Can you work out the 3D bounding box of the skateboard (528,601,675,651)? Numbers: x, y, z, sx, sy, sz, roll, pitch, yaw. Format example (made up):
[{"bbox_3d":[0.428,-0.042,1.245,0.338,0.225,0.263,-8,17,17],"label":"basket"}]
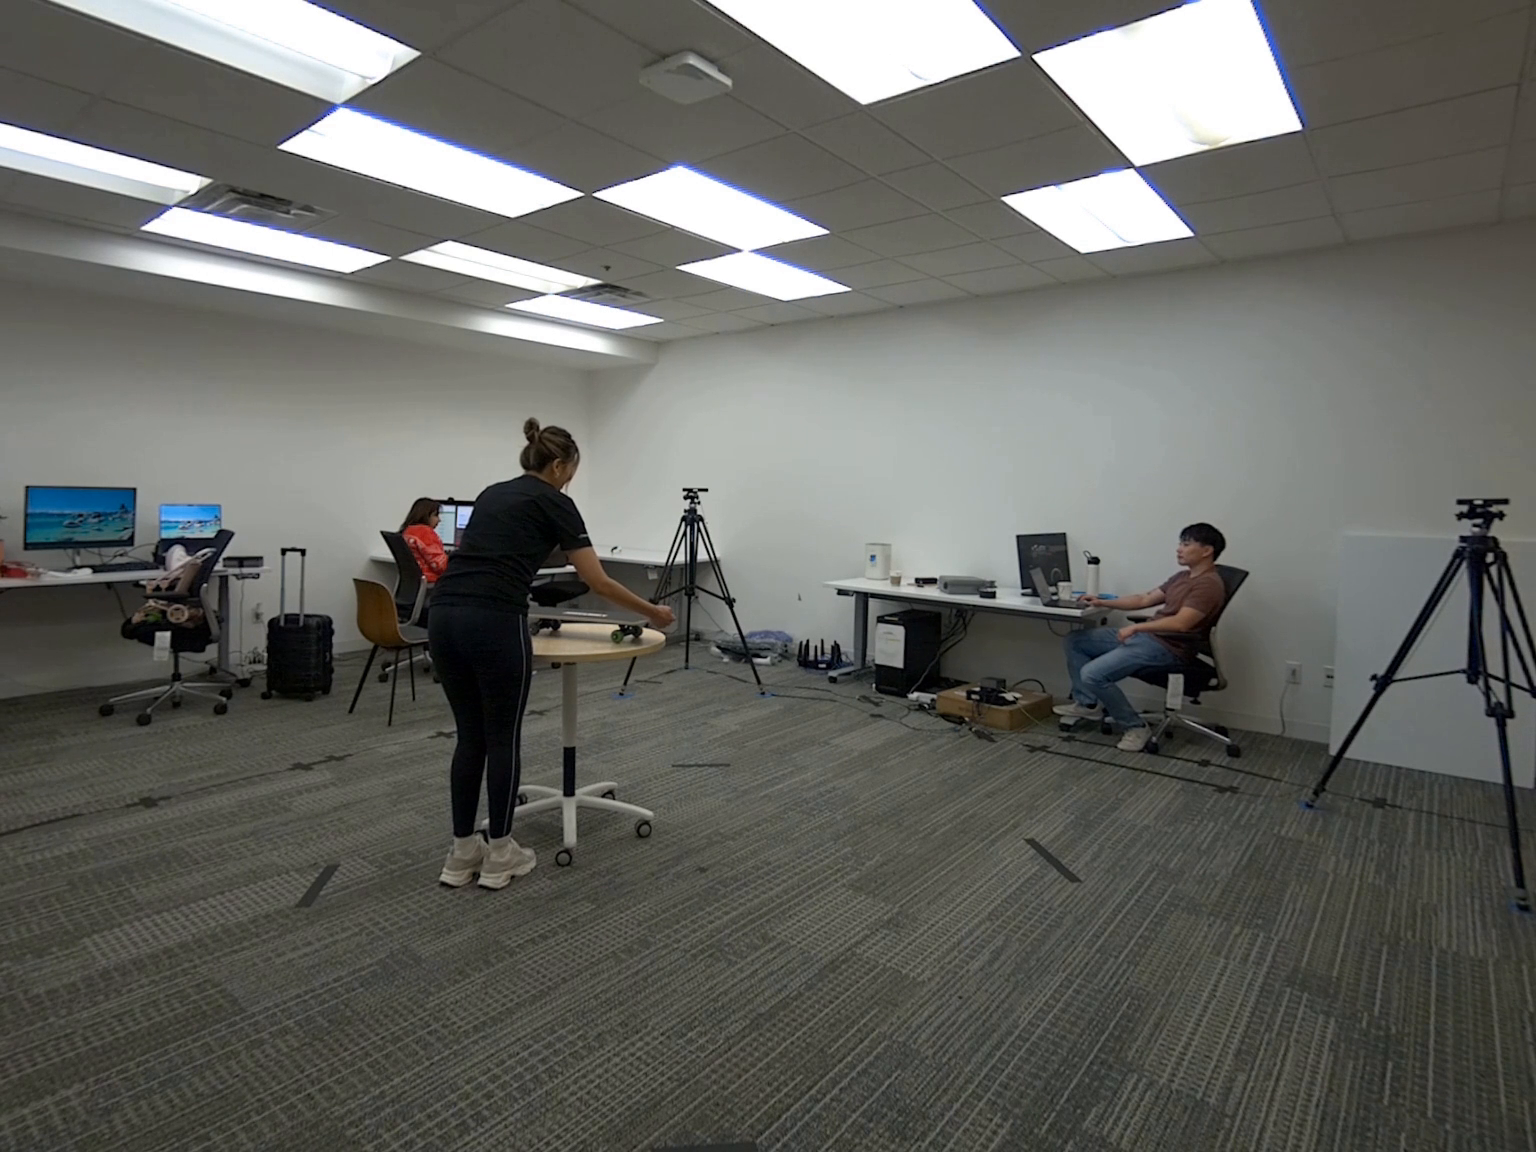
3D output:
[{"bbox_3d":[-0.777,0.192,3.449,0.806,0.110,0.189,4,5,25],"label":"skateboard"}]
